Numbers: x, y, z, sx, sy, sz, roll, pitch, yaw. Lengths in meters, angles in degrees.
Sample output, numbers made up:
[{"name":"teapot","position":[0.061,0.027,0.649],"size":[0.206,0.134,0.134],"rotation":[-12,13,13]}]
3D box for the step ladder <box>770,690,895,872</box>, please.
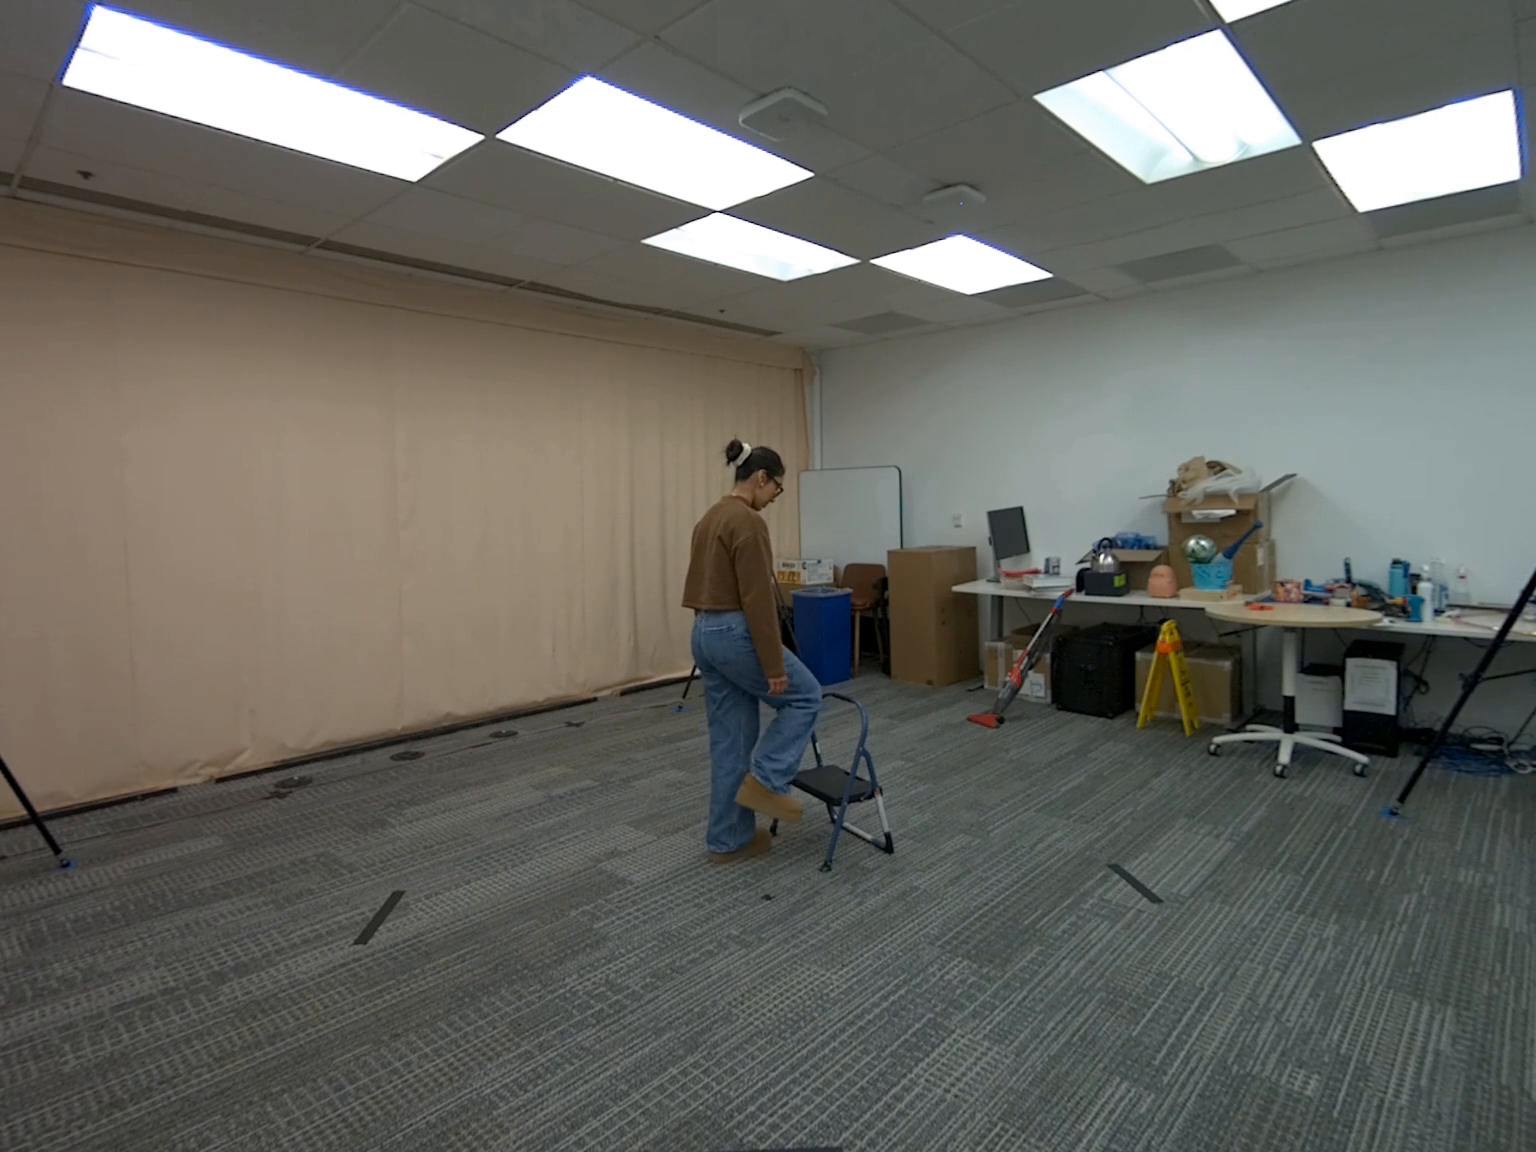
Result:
[{"name":"step ladder","position":[0.249,0.792,3.427],"size":[0.340,0.605,0.443],"rotation":[-3,4,-30]}]
